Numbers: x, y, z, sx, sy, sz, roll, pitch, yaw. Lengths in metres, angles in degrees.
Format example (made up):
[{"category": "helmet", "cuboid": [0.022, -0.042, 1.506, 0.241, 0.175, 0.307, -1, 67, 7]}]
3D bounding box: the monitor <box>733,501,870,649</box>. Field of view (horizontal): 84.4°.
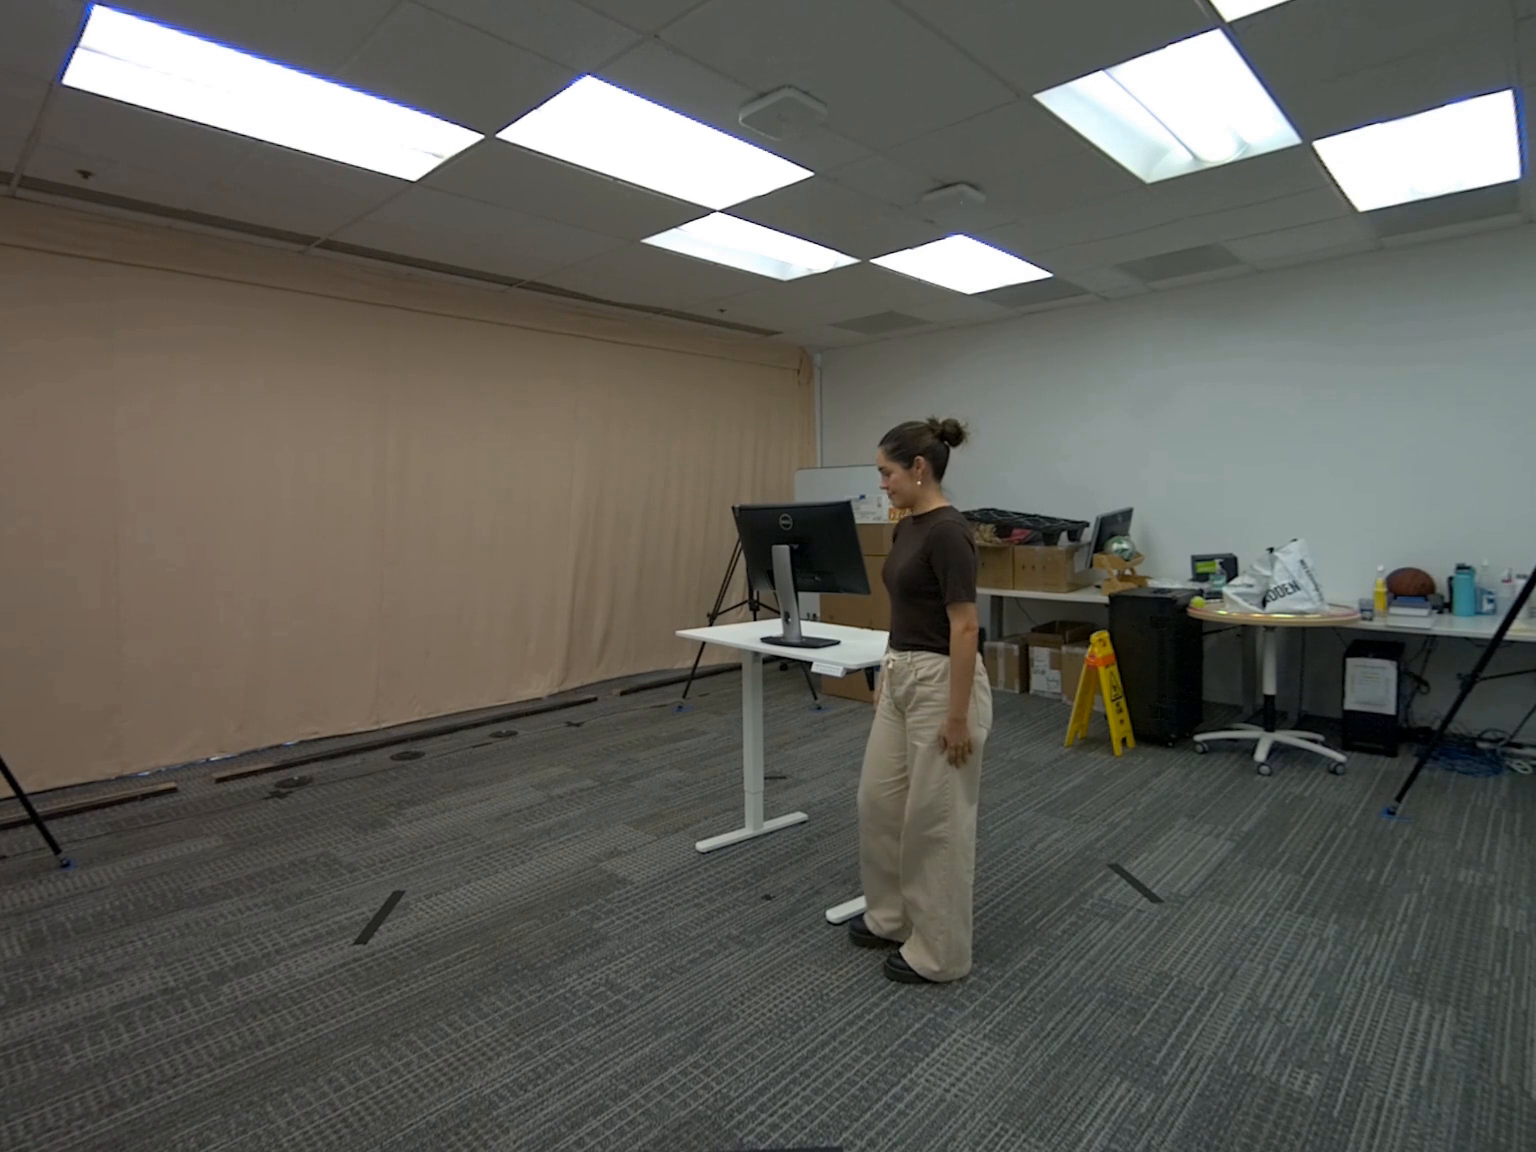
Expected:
[{"category": "monitor", "cuboid": [0.099, -0.005, 3.066, 0.556, 0.521, 0.182, 1, 6, 38]}]
